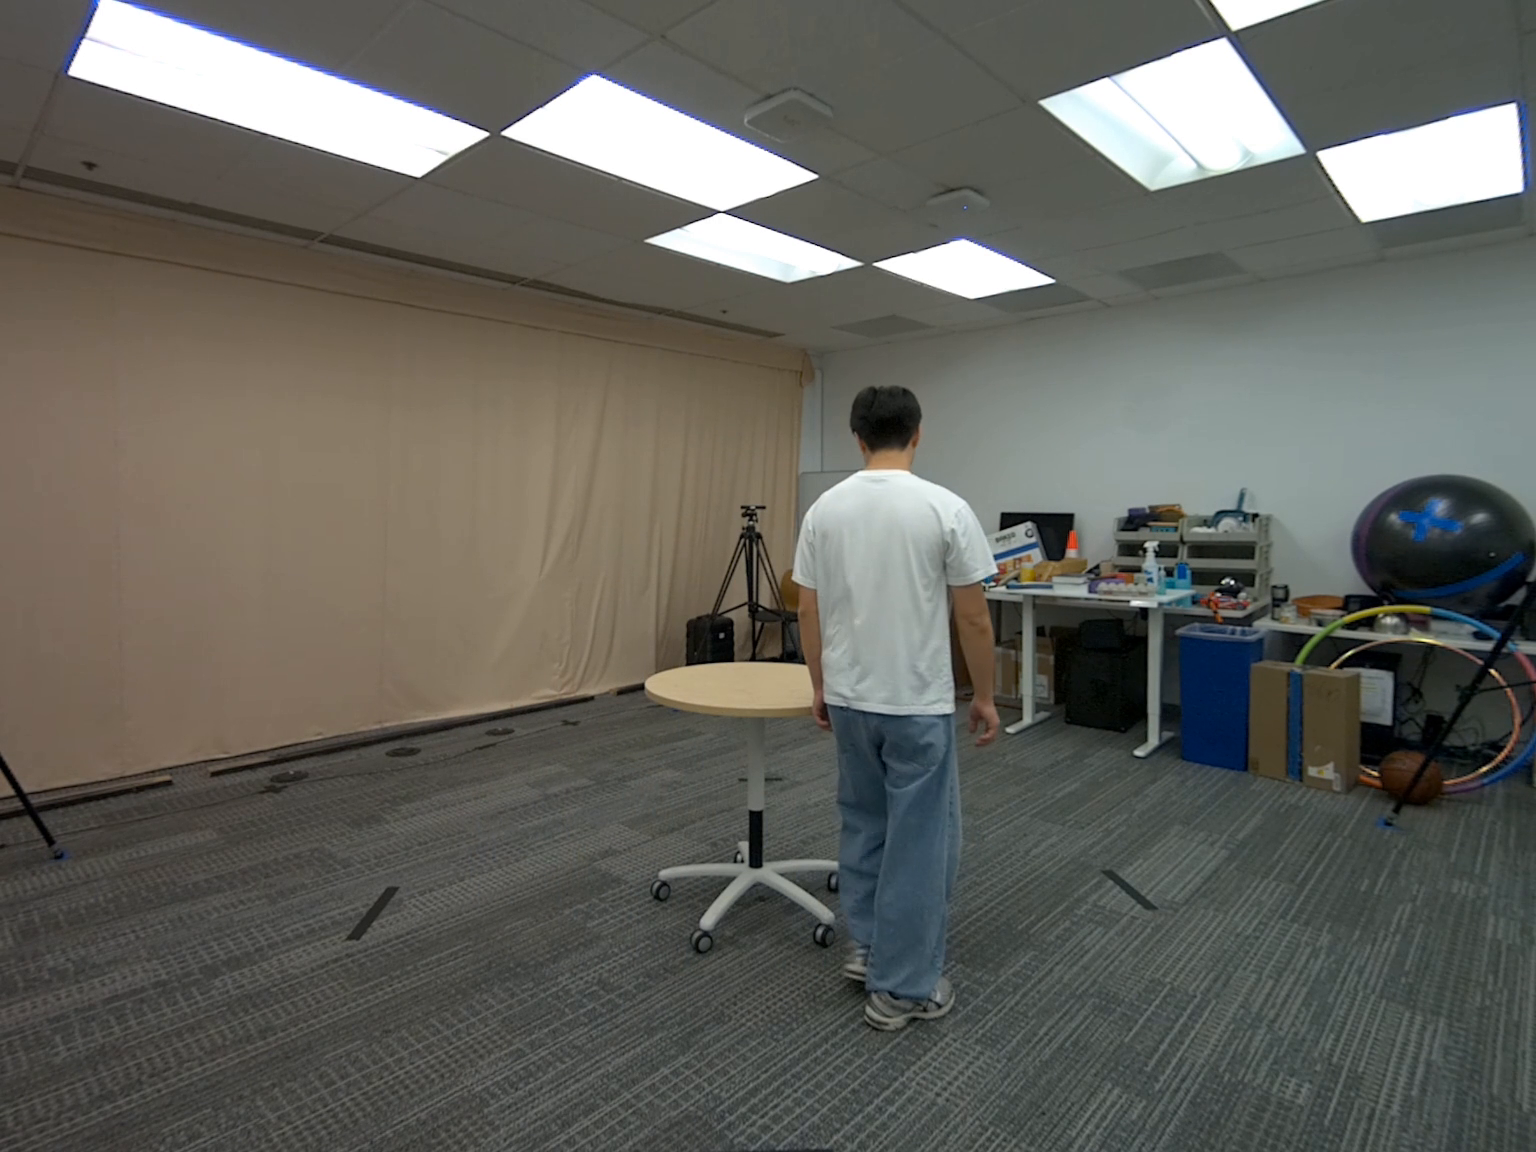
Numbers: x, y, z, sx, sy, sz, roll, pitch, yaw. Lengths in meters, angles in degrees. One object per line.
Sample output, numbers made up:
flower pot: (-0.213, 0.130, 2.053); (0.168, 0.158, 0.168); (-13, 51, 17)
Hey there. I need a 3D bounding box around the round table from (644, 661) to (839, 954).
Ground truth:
round table: (-0.040, 0.761, 2.917); (0.763, 0.792, 0.767); (0, 4, -2)
